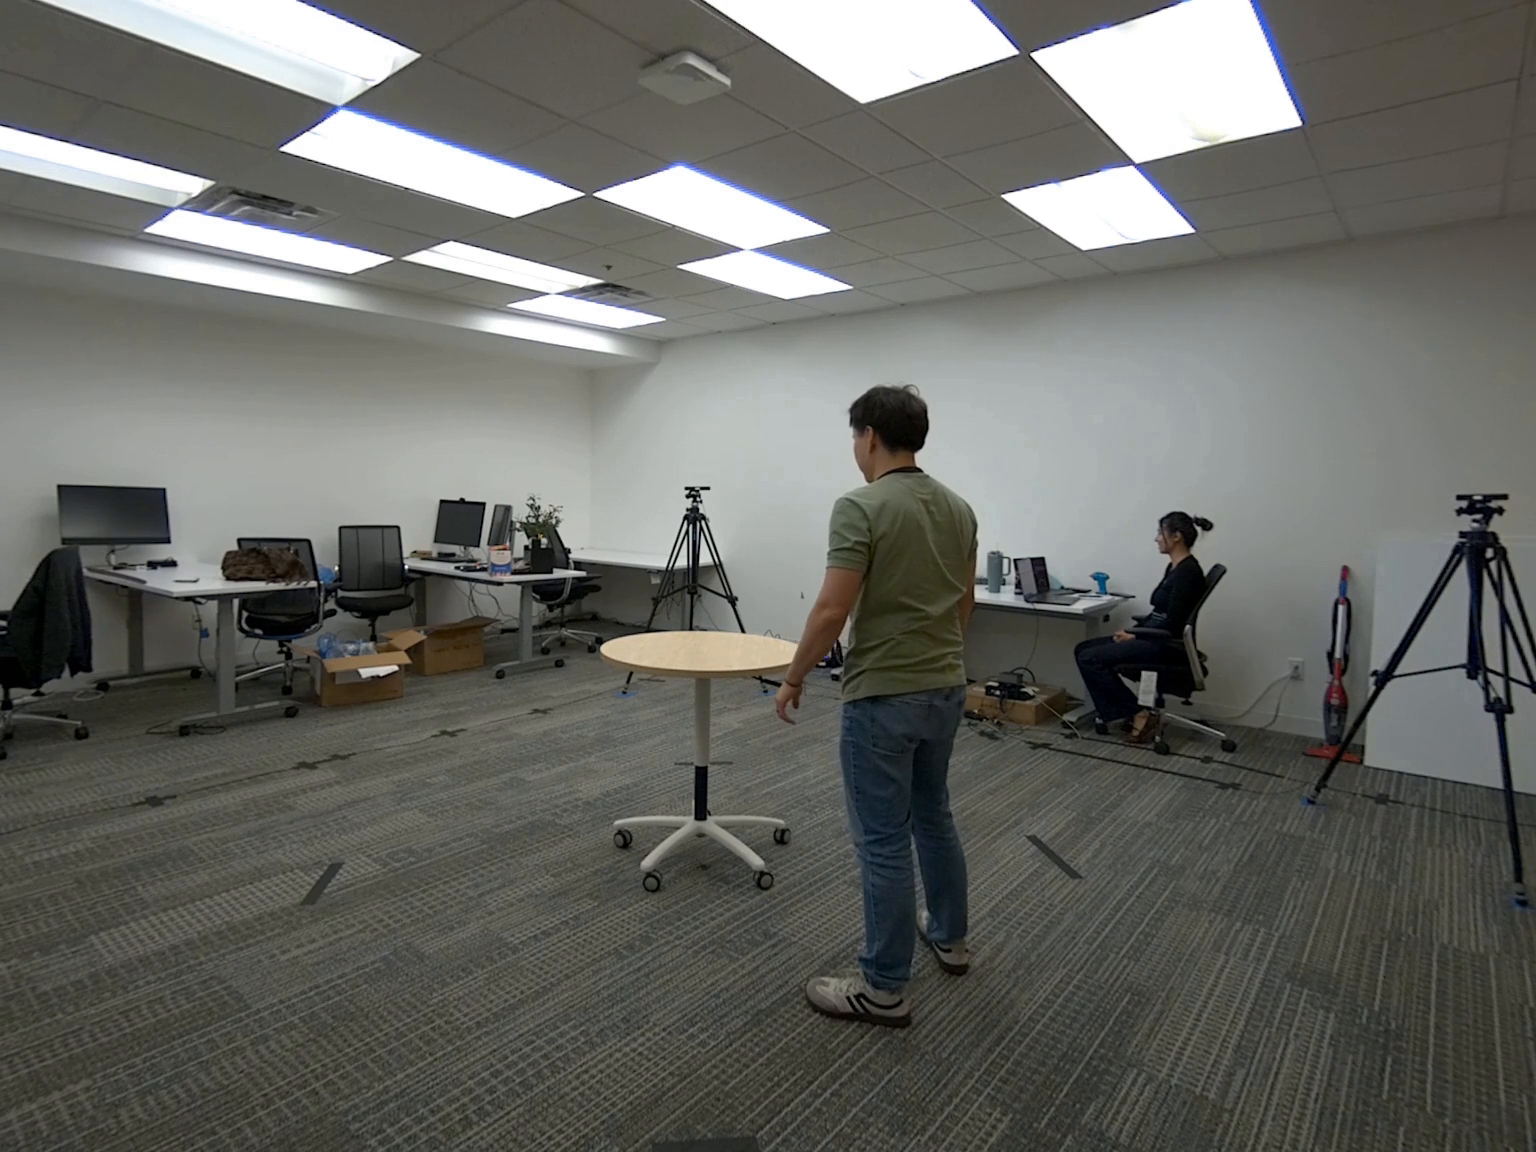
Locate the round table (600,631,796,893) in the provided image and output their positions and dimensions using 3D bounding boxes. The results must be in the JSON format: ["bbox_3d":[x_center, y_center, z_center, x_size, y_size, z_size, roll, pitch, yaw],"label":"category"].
[{"bbox_3d":[-0.263,0.664,3.196,0.763,0.792,0.767,1,4,-2],"label":"round table"}]
